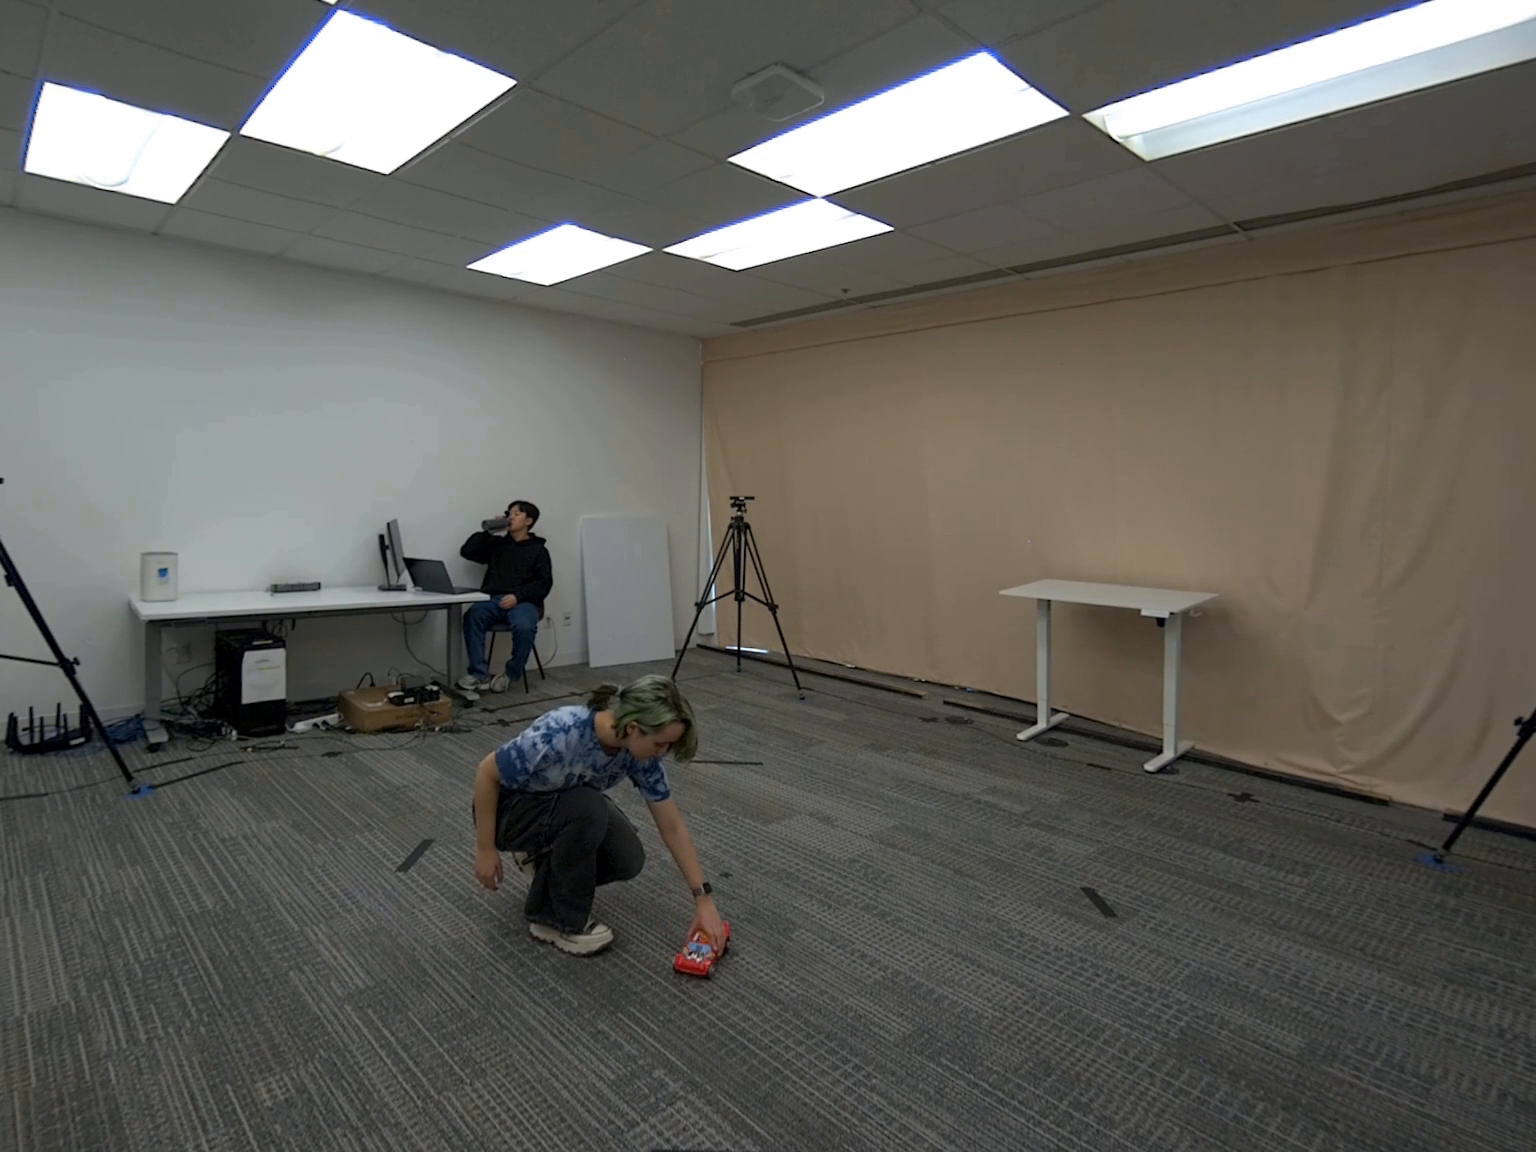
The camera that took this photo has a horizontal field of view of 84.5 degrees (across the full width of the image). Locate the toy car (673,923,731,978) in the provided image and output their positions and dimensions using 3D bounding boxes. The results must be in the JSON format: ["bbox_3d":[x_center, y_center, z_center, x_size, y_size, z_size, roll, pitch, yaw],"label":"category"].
[{"bbox_3d":[-0.204,1.127,2.534,0.132,0.082,0.254,2,16,15],"label":"toy car"}]
